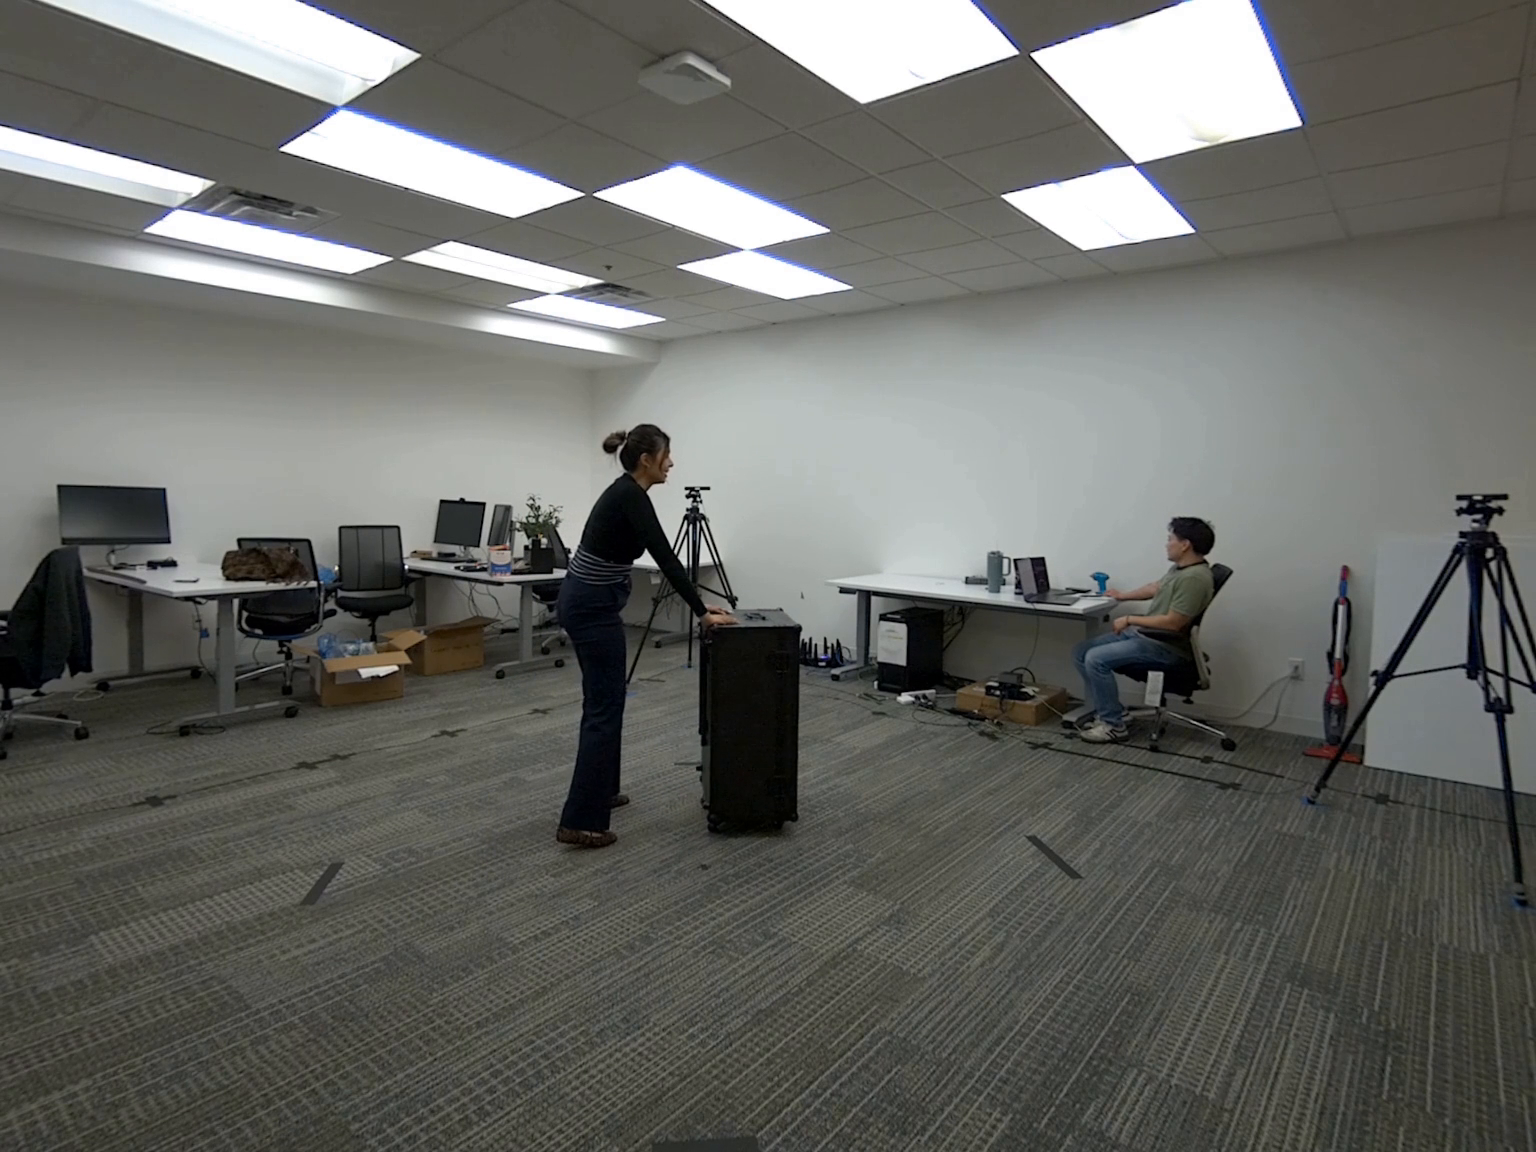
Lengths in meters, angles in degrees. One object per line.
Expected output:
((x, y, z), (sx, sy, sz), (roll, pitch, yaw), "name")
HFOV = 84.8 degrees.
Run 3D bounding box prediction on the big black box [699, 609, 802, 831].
((-0.108, 0.596, 3.582), (0.394, 0.858, 0.527), (0, 5, -7), "big black box")
